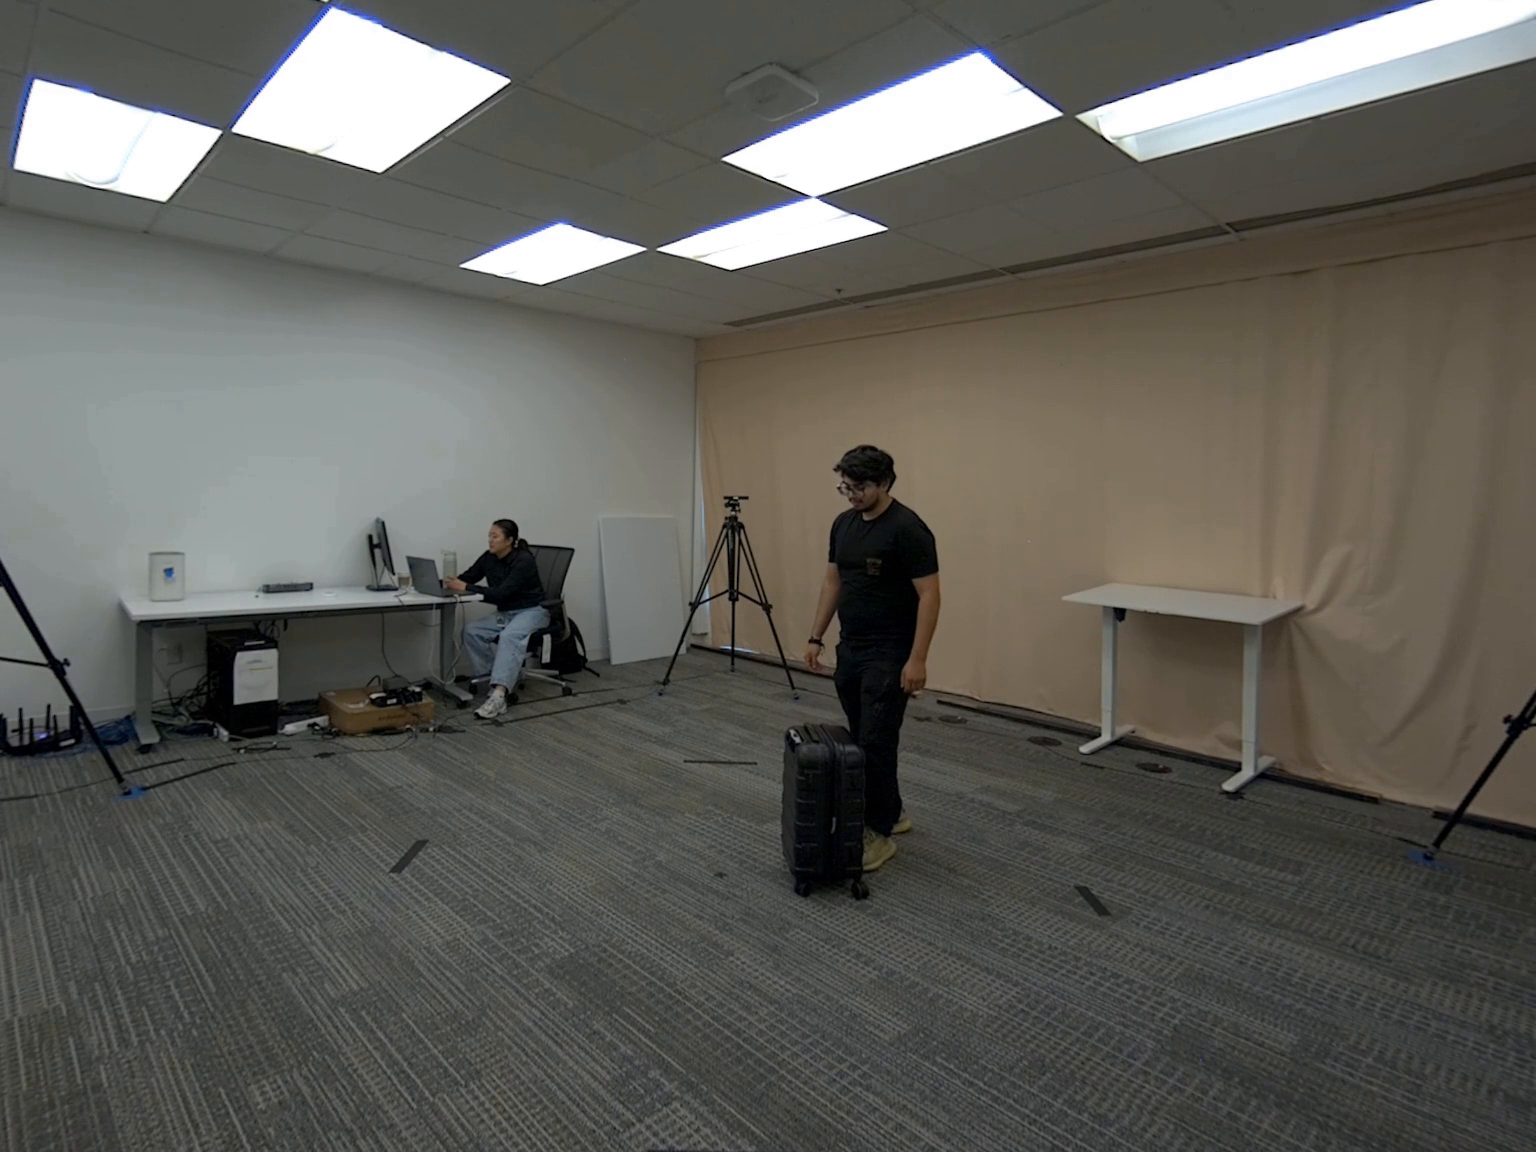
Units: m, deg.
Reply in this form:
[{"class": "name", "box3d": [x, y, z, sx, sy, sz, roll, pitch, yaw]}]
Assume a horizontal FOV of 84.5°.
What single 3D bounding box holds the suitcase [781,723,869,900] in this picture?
[{"class": "suitcase", "box3d": [0.193, 0.835, 3.087, 0.247, 0.548, 0.378, 1, 4, -7]}]
